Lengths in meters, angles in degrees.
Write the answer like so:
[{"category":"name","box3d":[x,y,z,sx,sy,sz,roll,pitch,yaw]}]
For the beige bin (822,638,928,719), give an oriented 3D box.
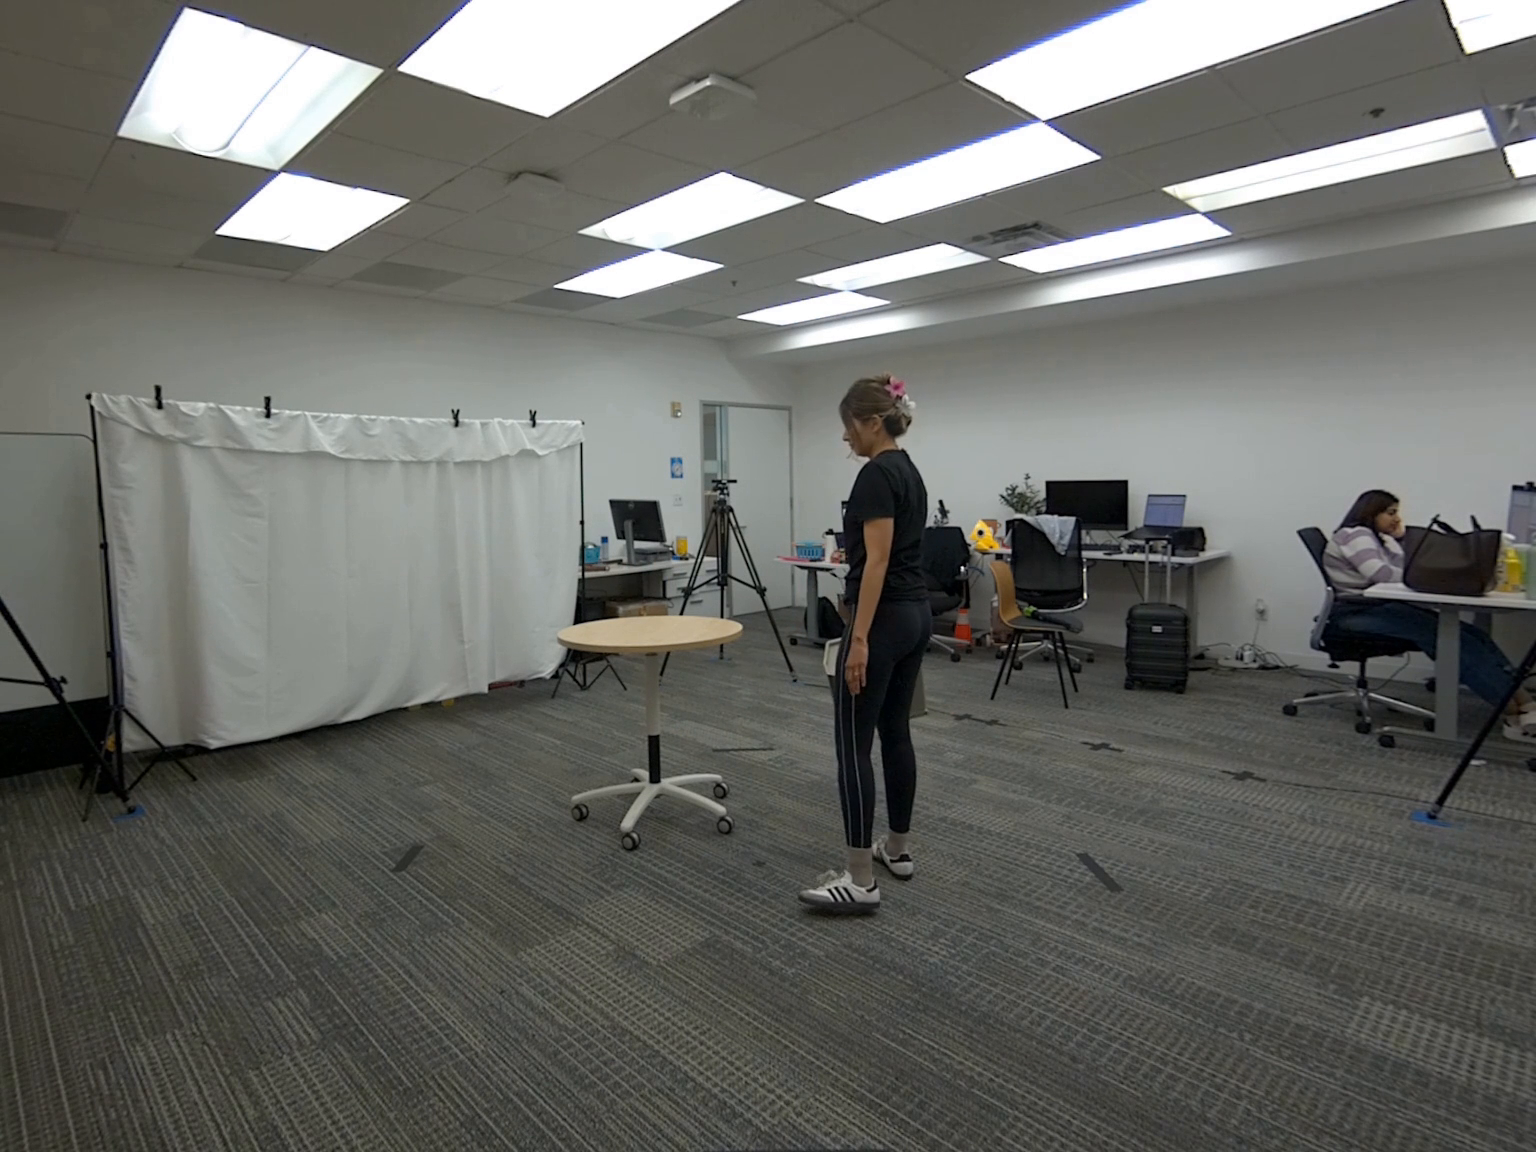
[{"category":"beige bin","box3d":[0.439,0.421,3.415,0.379,0.408,0.195,-11,47,5]}]
